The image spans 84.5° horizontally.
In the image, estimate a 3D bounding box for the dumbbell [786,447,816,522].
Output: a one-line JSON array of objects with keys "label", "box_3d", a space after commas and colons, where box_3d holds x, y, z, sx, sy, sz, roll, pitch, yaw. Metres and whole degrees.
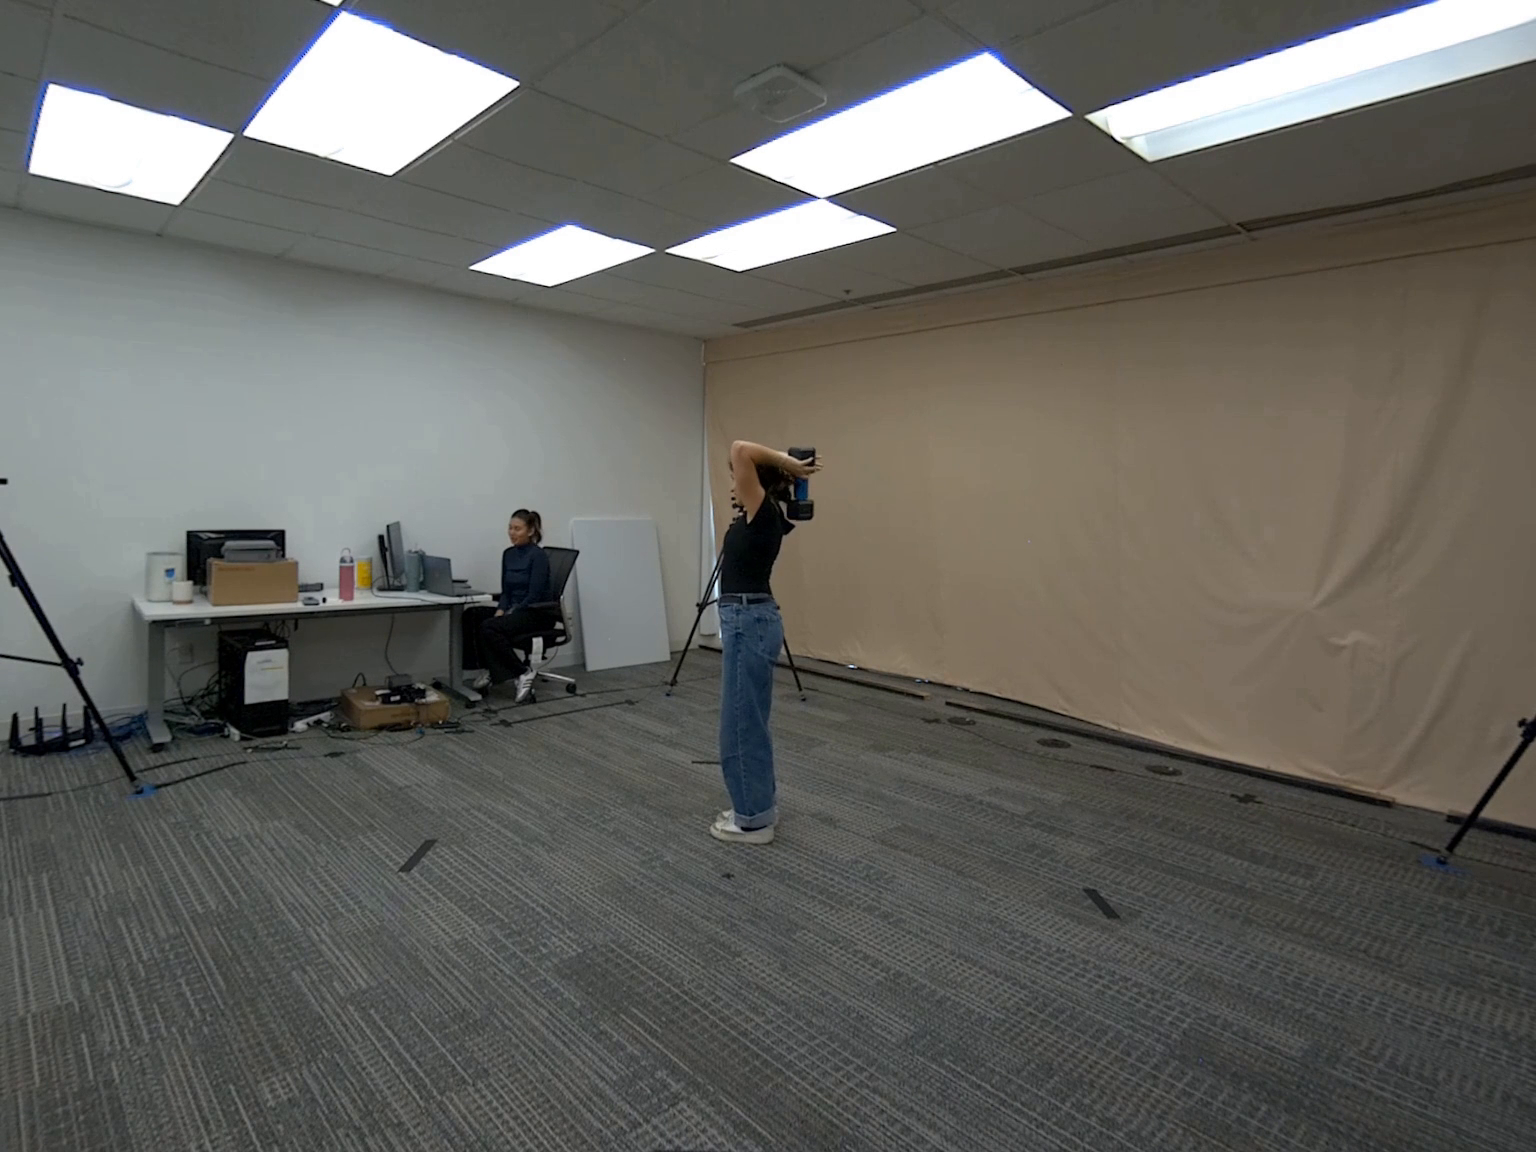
[{"label": "dumbbell", "box_3d": [0.123, -0.381, 3.392, 0.106, 0.291, 0.126, -8, 14, -41]}]
